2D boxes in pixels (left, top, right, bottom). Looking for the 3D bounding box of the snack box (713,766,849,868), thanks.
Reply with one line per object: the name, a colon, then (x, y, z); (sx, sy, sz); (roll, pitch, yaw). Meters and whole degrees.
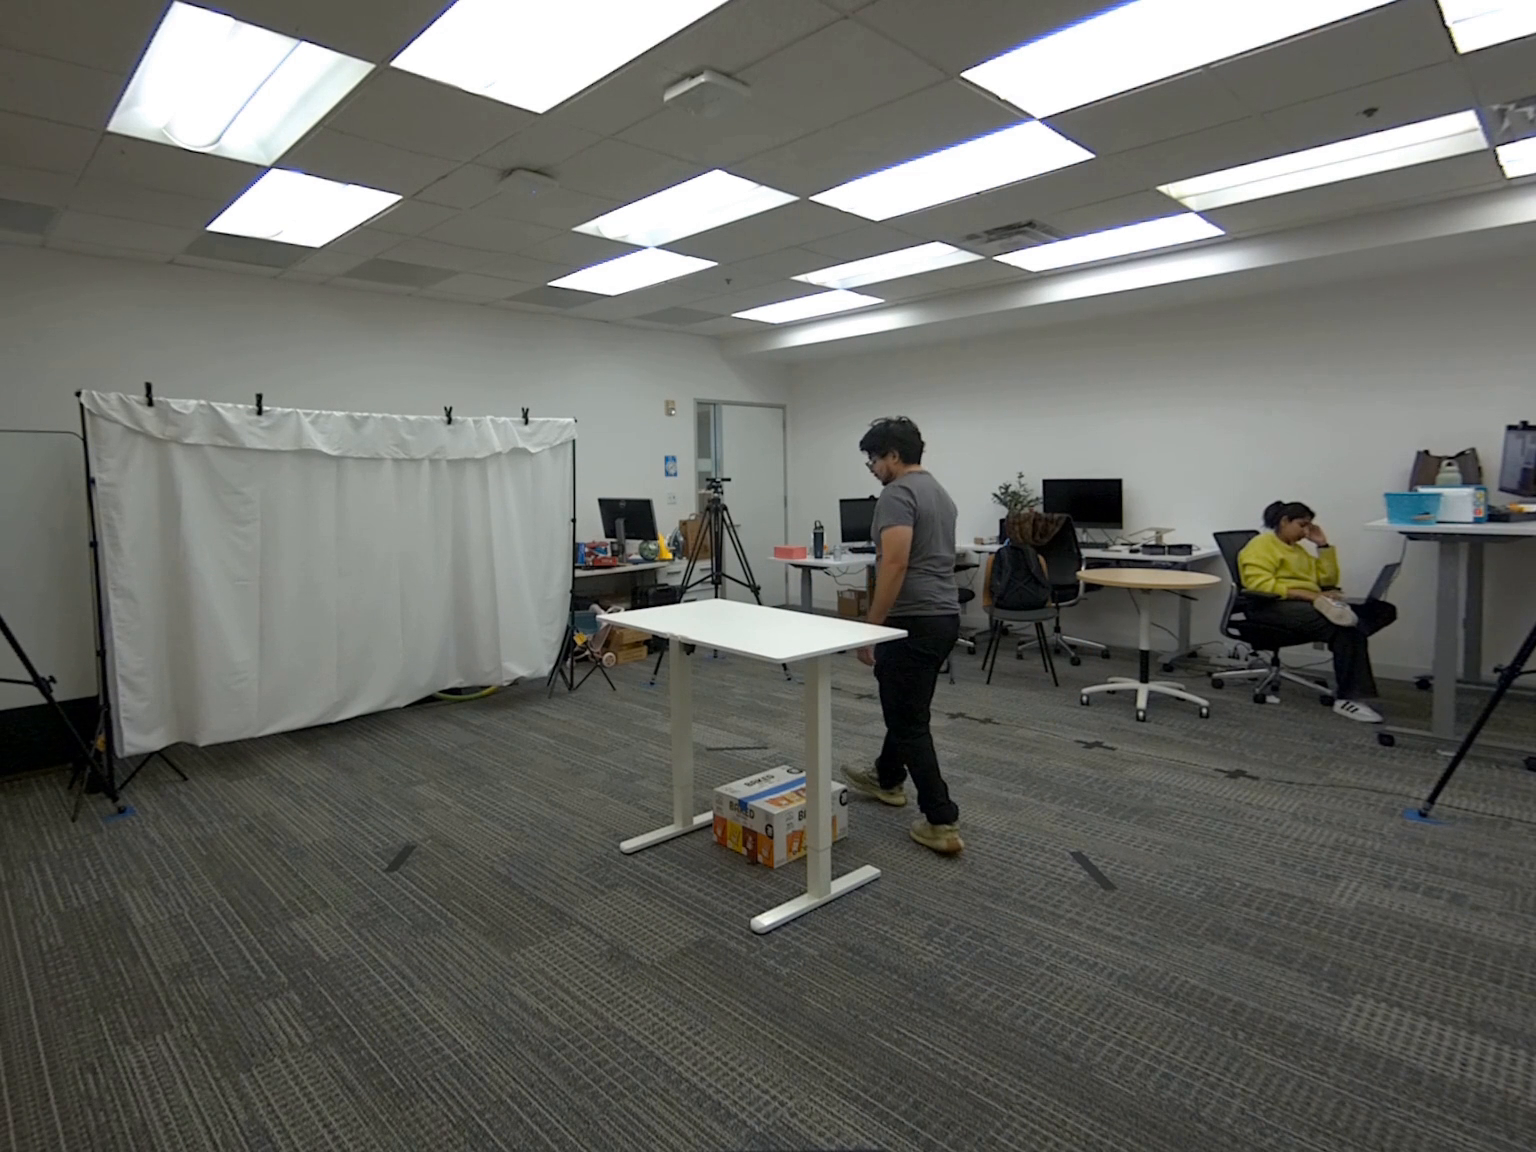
snack box: (0.049, 0.919, 3.300); (0.394, 0.205, 0.351); (-7, 8, -43)
